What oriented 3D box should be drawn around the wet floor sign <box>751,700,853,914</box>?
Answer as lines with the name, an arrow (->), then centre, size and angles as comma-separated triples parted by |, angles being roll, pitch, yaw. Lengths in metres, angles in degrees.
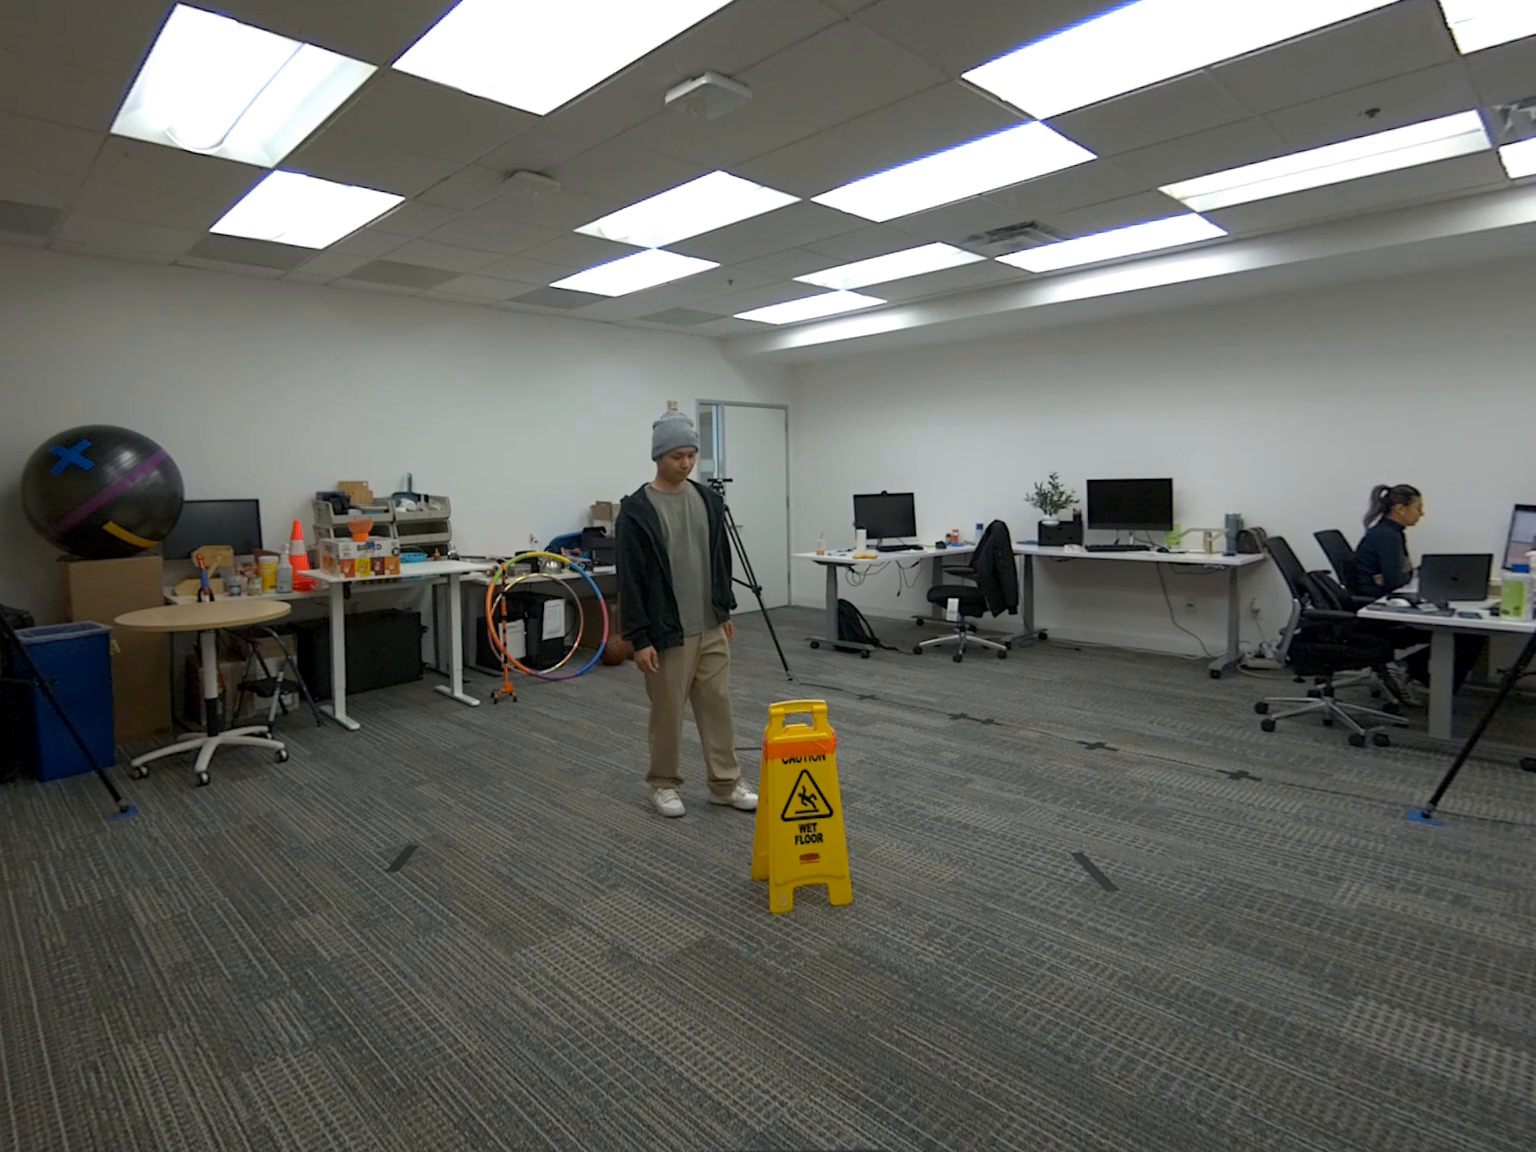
wet floor sign -> 0.110, 0.740, 2.867 | 0.279, 0.643, 0.294 | -3, 4, -13
